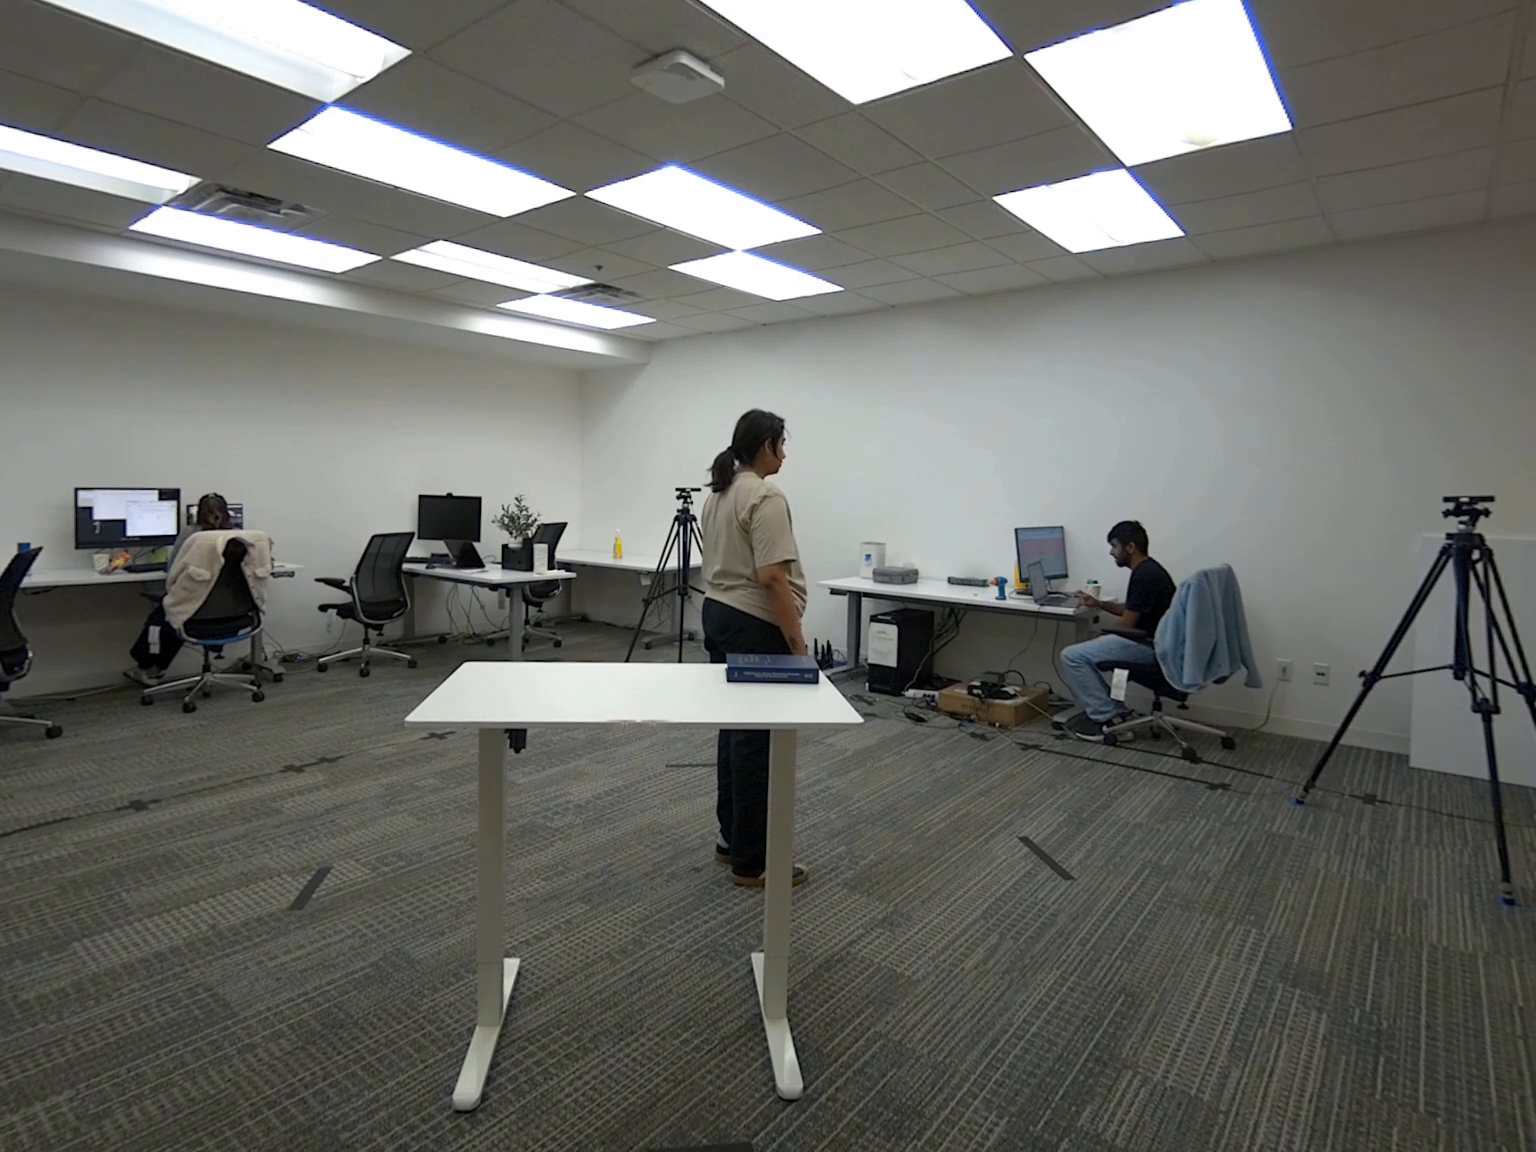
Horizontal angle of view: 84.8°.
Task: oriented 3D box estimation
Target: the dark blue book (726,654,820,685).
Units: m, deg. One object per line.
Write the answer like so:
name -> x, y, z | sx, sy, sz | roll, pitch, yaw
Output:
dark blue book -> -0.010, 0.250, 2.305 | 0.245, 0.045, 0.164 | 2, 8, 0
